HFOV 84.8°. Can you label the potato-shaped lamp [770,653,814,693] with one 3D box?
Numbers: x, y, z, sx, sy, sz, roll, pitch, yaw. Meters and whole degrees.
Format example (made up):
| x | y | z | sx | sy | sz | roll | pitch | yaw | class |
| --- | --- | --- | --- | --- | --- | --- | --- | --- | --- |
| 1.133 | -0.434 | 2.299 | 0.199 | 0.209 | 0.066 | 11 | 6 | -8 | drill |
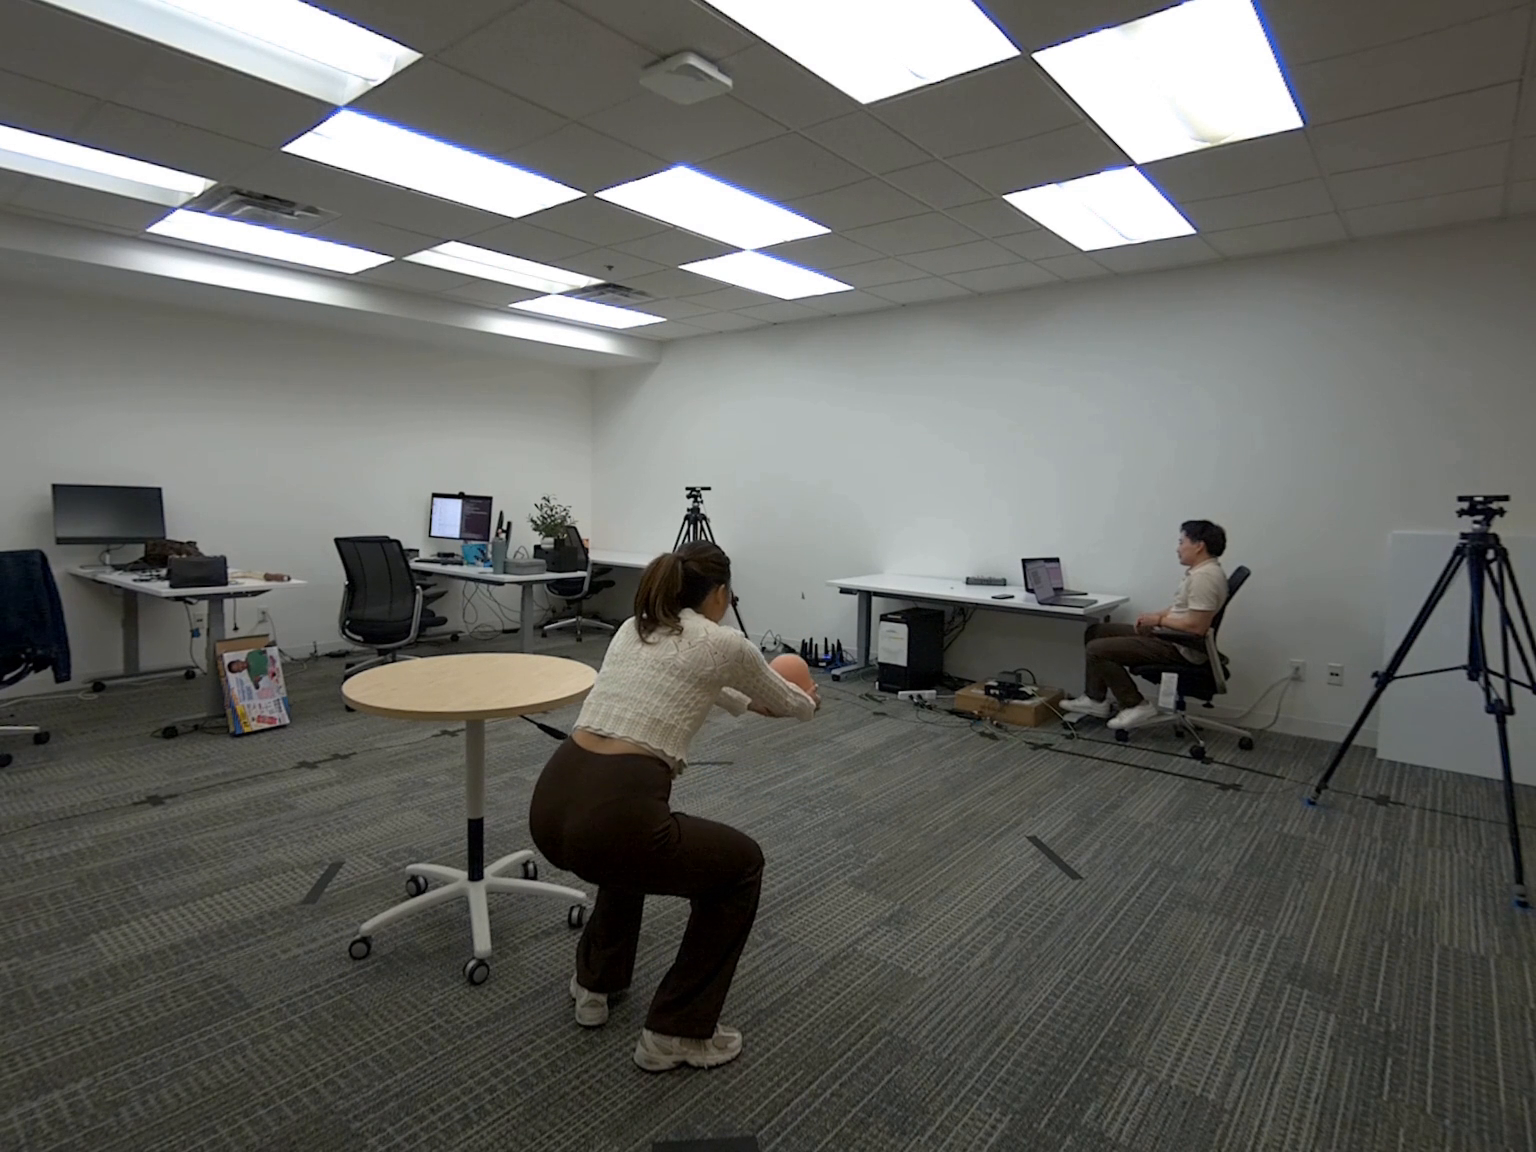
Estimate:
| x | y | z | sx | sy | sz | roll | pitch | yaw | class |
| --- | --- | --- | --- | --- | --- | --- | --- | --- | --- |
| 0.060 | 0.346 | 2.741 | 0.170 | 0.198 | 0.166 | 6 | 2 | 40 | potato-shaped lamp |
